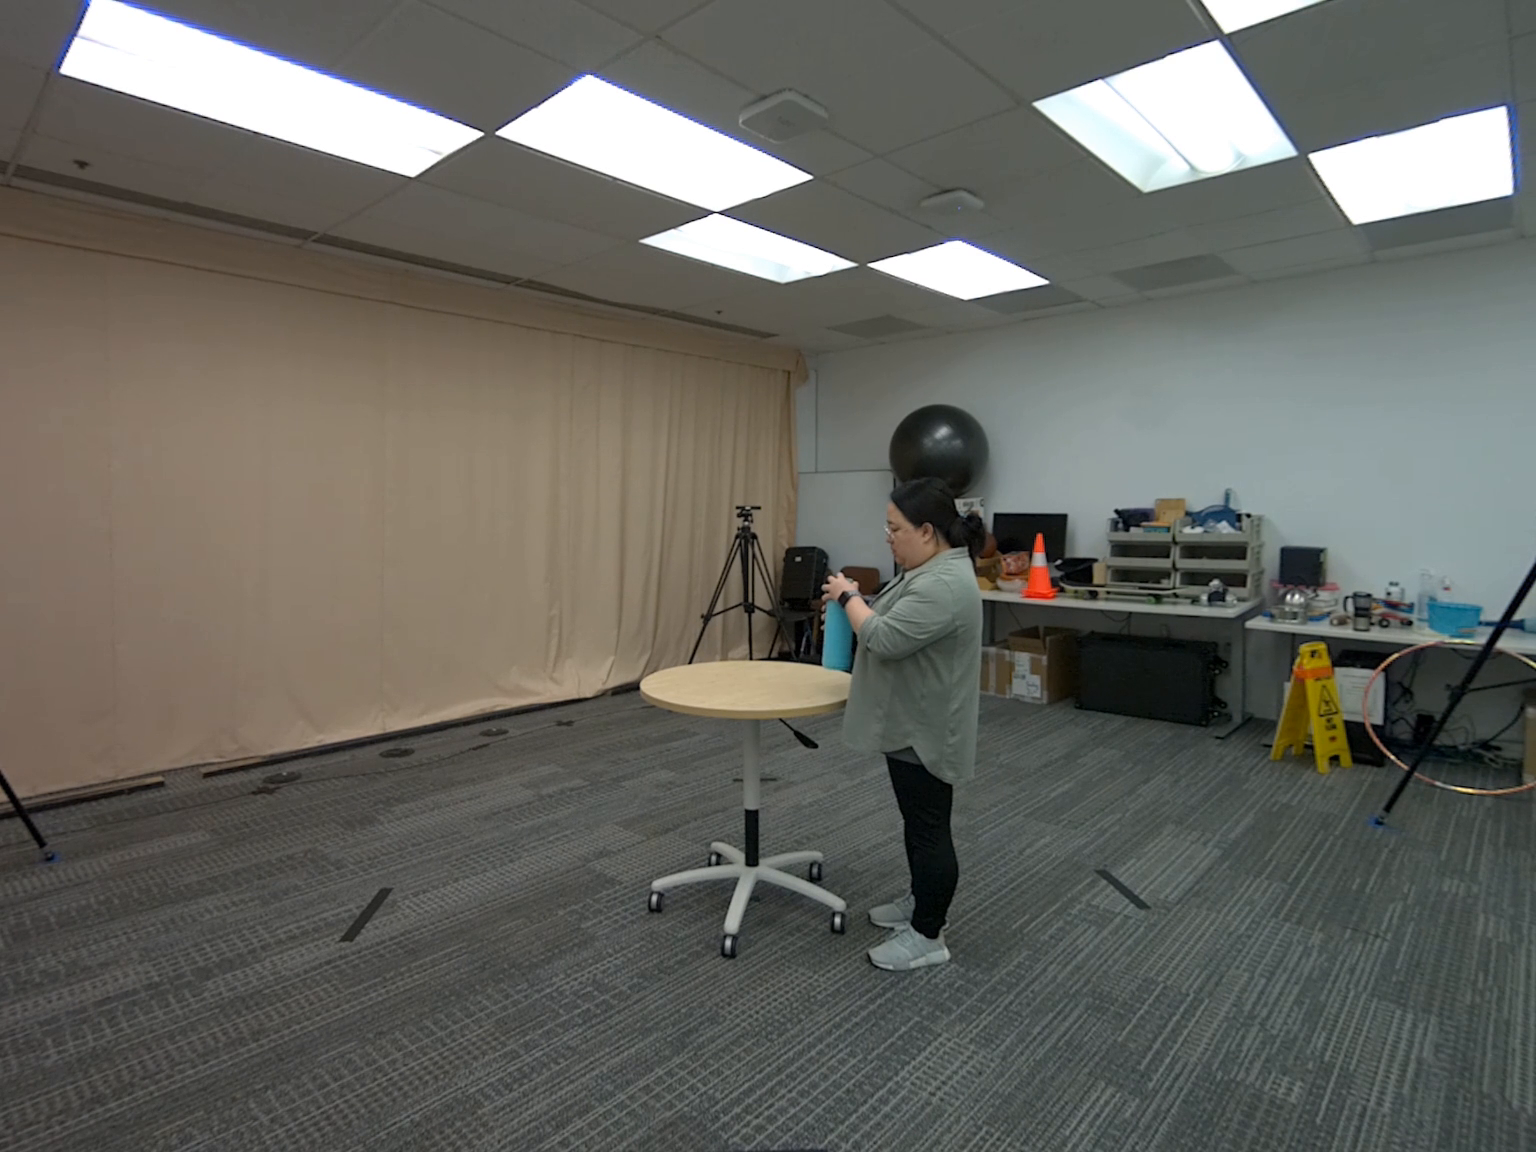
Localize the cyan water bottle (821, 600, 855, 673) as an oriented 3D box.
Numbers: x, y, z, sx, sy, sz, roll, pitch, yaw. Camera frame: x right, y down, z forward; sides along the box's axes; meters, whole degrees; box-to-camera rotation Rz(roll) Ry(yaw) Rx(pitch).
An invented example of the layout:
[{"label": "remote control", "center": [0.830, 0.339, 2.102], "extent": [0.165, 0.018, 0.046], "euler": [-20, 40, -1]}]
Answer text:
[{"label": "cyan water bottle", "center": [0.237, 0.155, 2.641], "extent": [0.092, 0.283, 0.092], "euler": [3, 3, -2]}]
